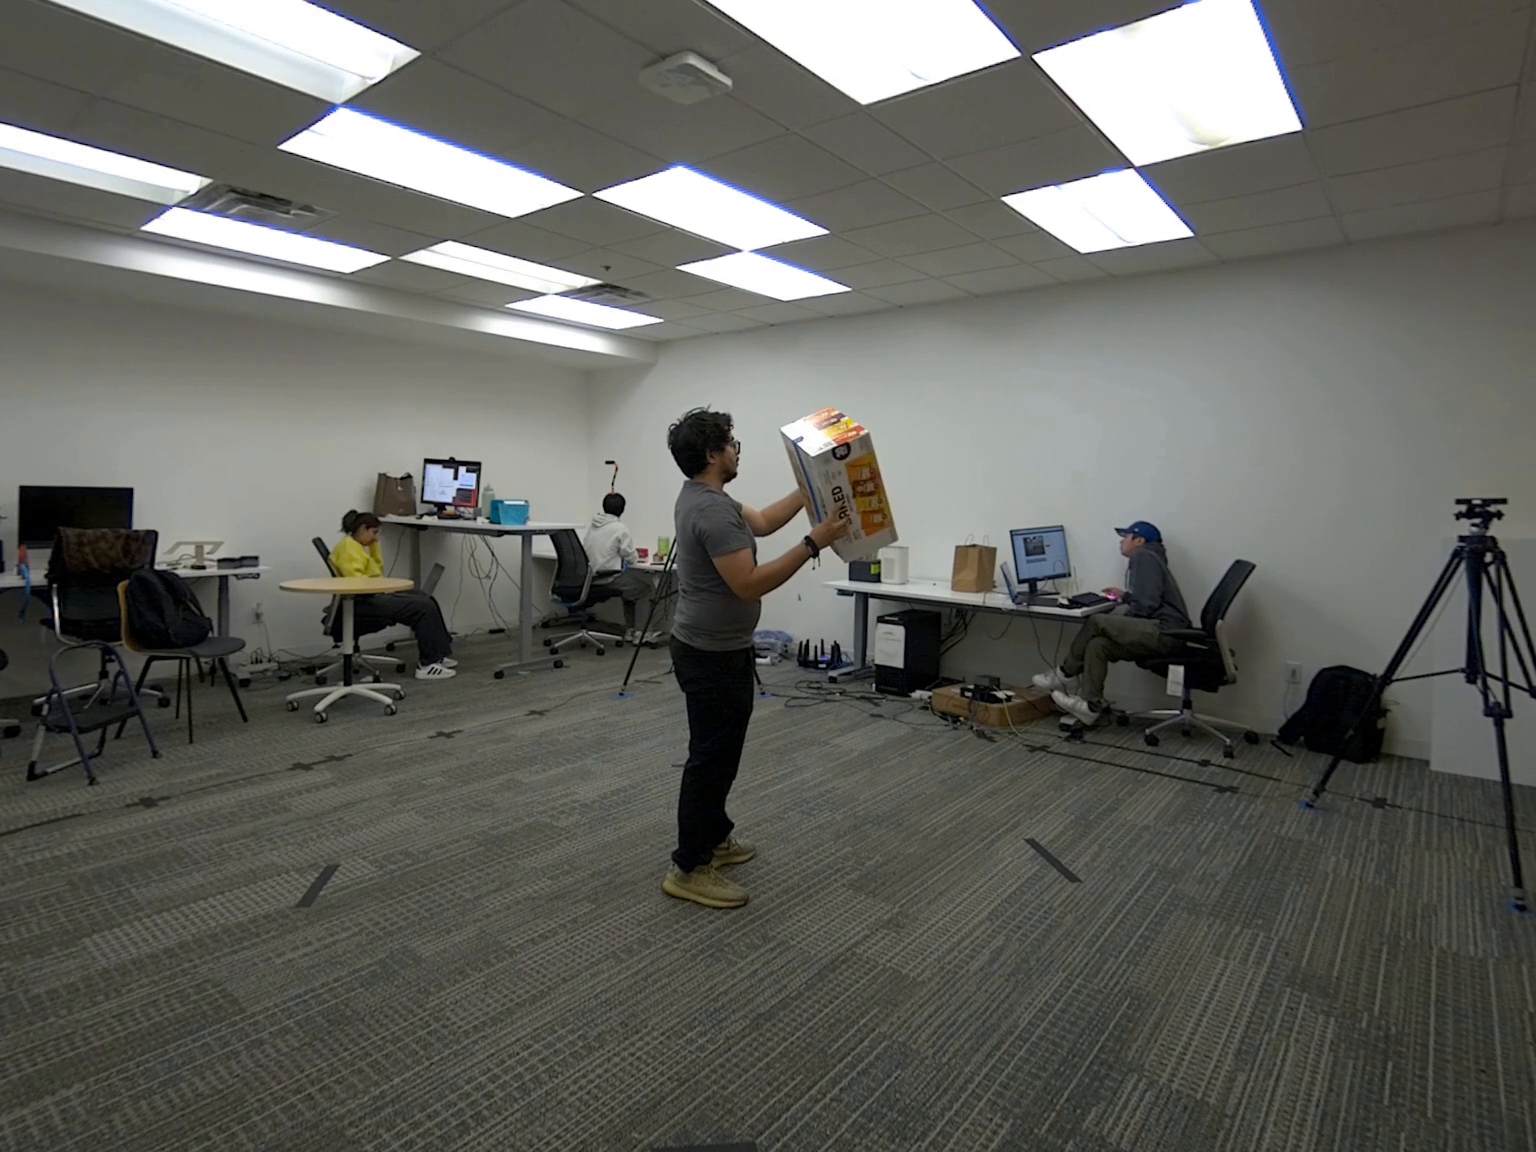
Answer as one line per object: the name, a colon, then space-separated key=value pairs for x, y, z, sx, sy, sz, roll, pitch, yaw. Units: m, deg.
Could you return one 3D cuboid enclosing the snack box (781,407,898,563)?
snack box: x=0.230 y=-0.318 z=2.888 sx=0.205 sy=0.393 sz=0.352 roll=-23 pitch=27 yaw=-6
